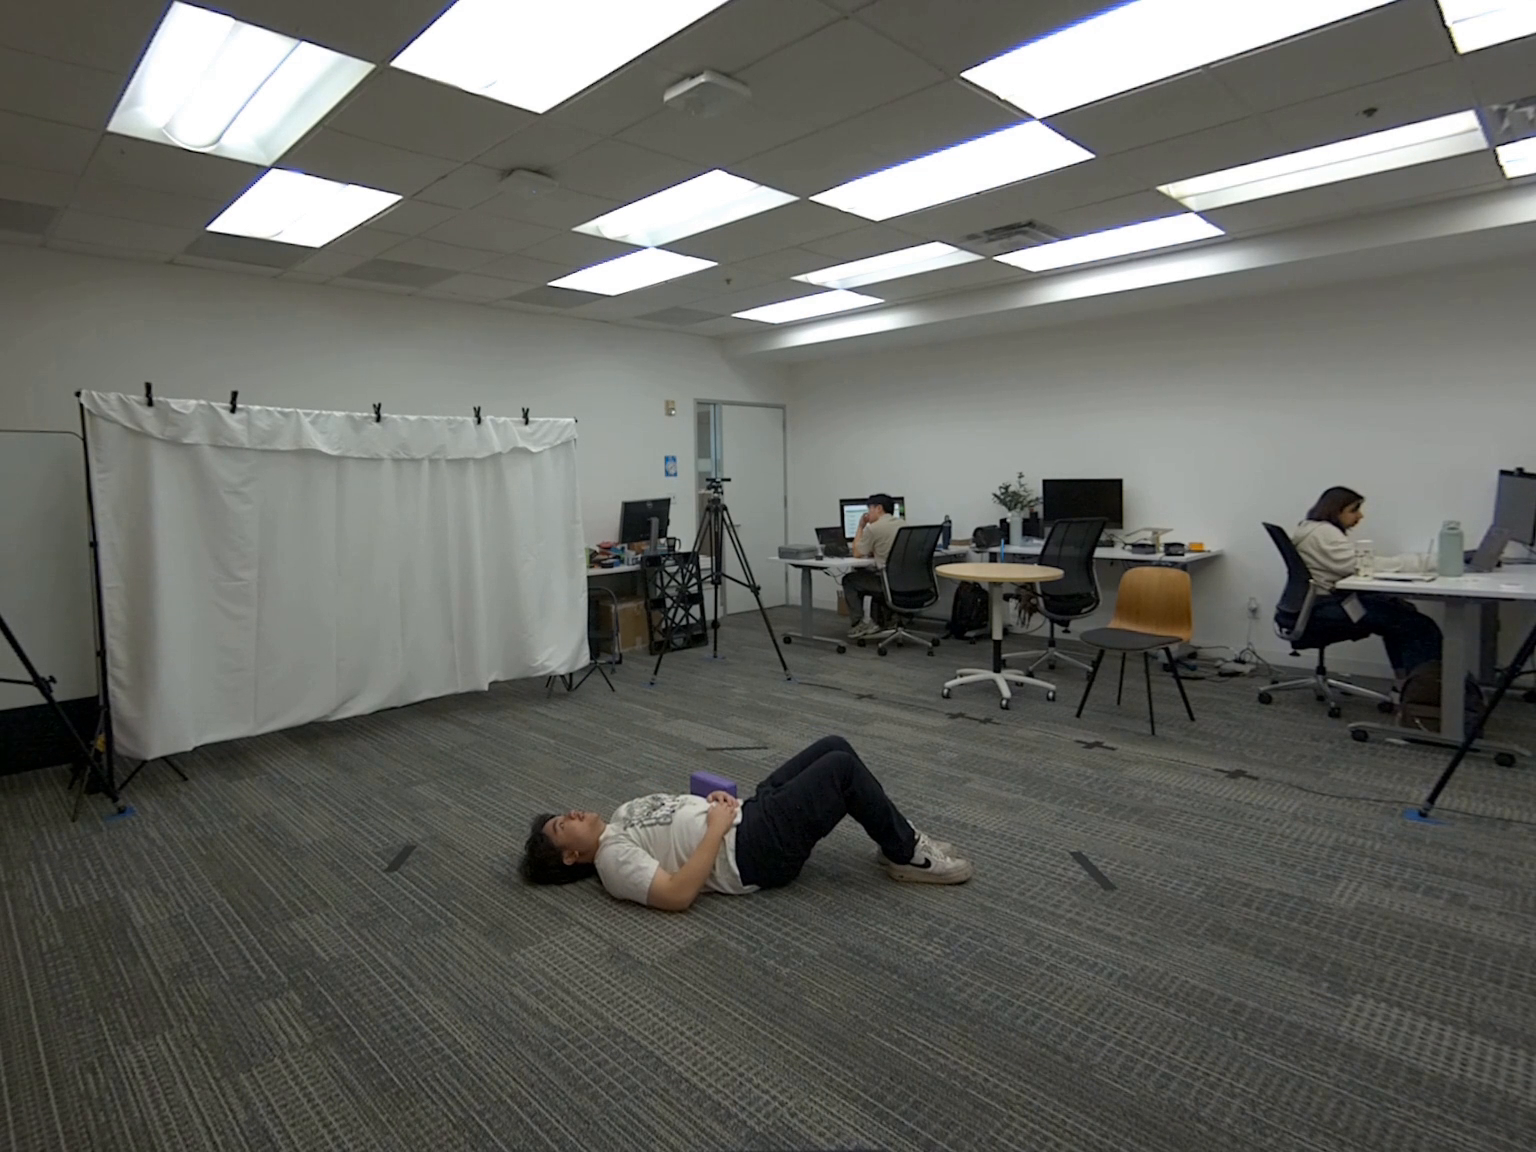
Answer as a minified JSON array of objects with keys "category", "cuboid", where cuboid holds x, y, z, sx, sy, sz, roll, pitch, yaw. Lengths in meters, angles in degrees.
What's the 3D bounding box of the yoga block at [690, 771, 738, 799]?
[{"category":"yoga block","cuboid":[-0.226,0.917,3.580,0.074,0.148,0.236,-4,6,-44]}]
